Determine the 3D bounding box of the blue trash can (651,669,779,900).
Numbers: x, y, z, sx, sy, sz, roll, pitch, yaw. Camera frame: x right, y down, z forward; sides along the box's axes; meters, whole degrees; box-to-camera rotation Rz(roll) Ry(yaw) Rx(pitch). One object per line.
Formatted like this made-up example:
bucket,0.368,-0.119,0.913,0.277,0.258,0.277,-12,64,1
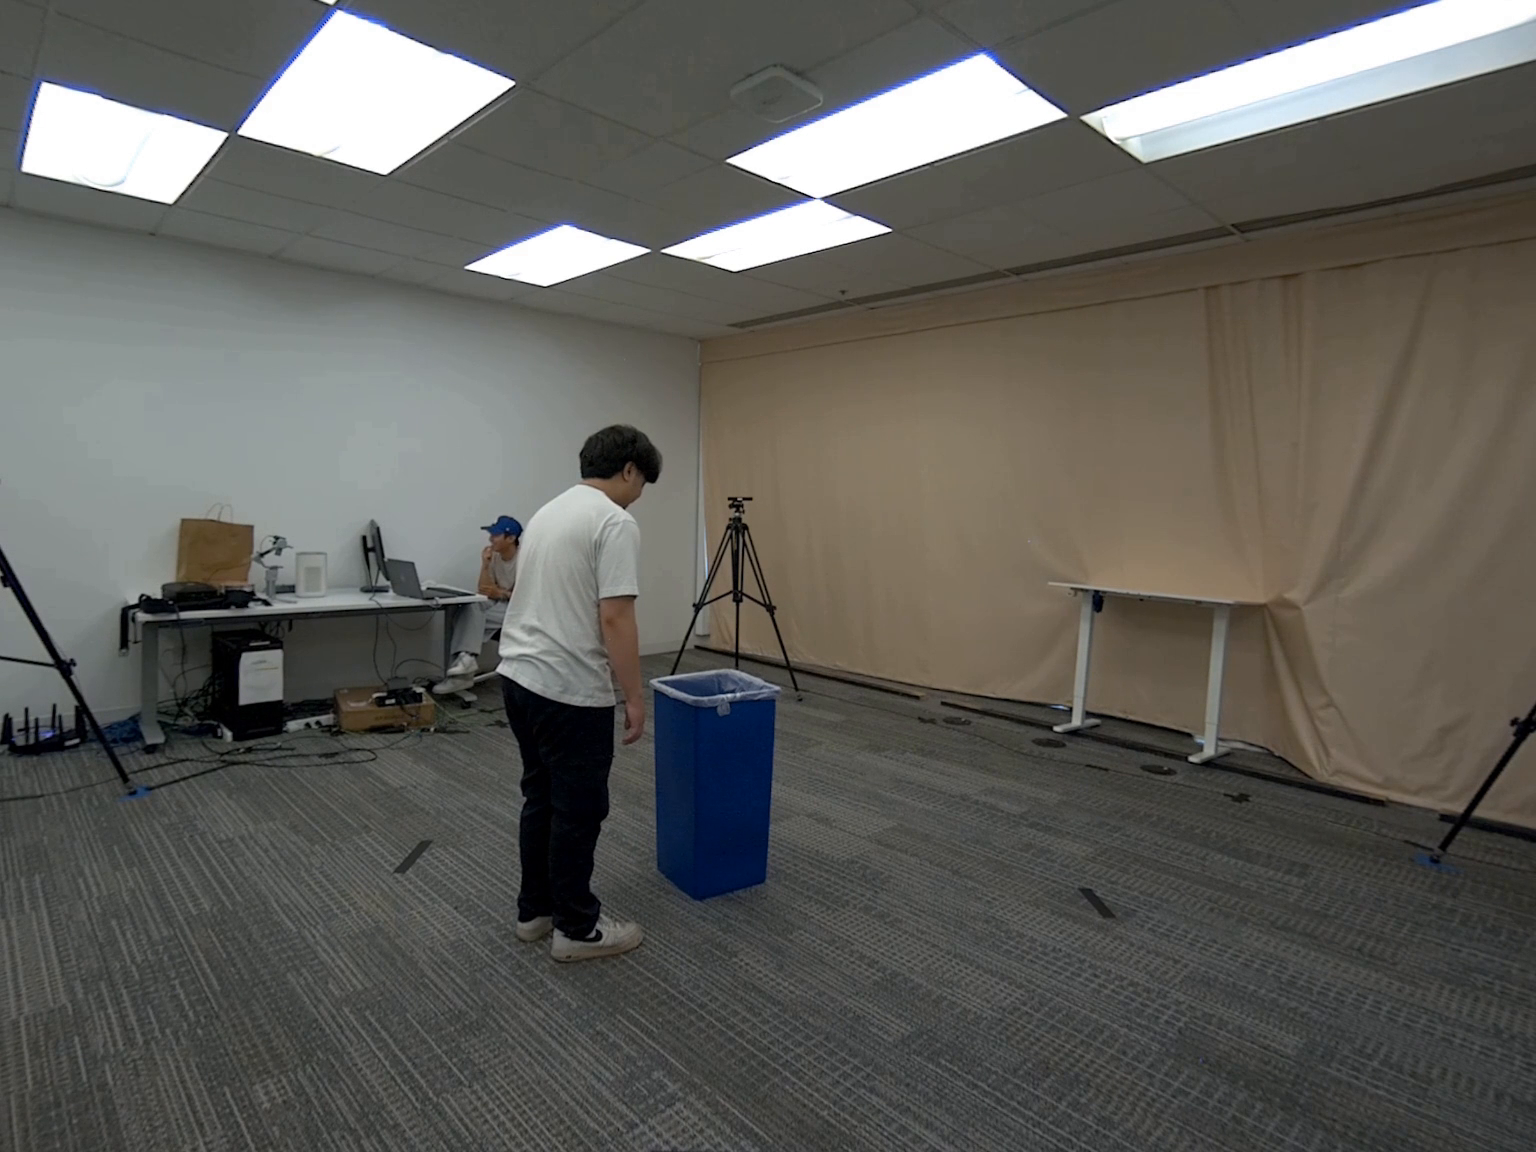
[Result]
blue trash can,-0.215,0.748,3.096,0.370,0.712,0.383,-1,4,-34
